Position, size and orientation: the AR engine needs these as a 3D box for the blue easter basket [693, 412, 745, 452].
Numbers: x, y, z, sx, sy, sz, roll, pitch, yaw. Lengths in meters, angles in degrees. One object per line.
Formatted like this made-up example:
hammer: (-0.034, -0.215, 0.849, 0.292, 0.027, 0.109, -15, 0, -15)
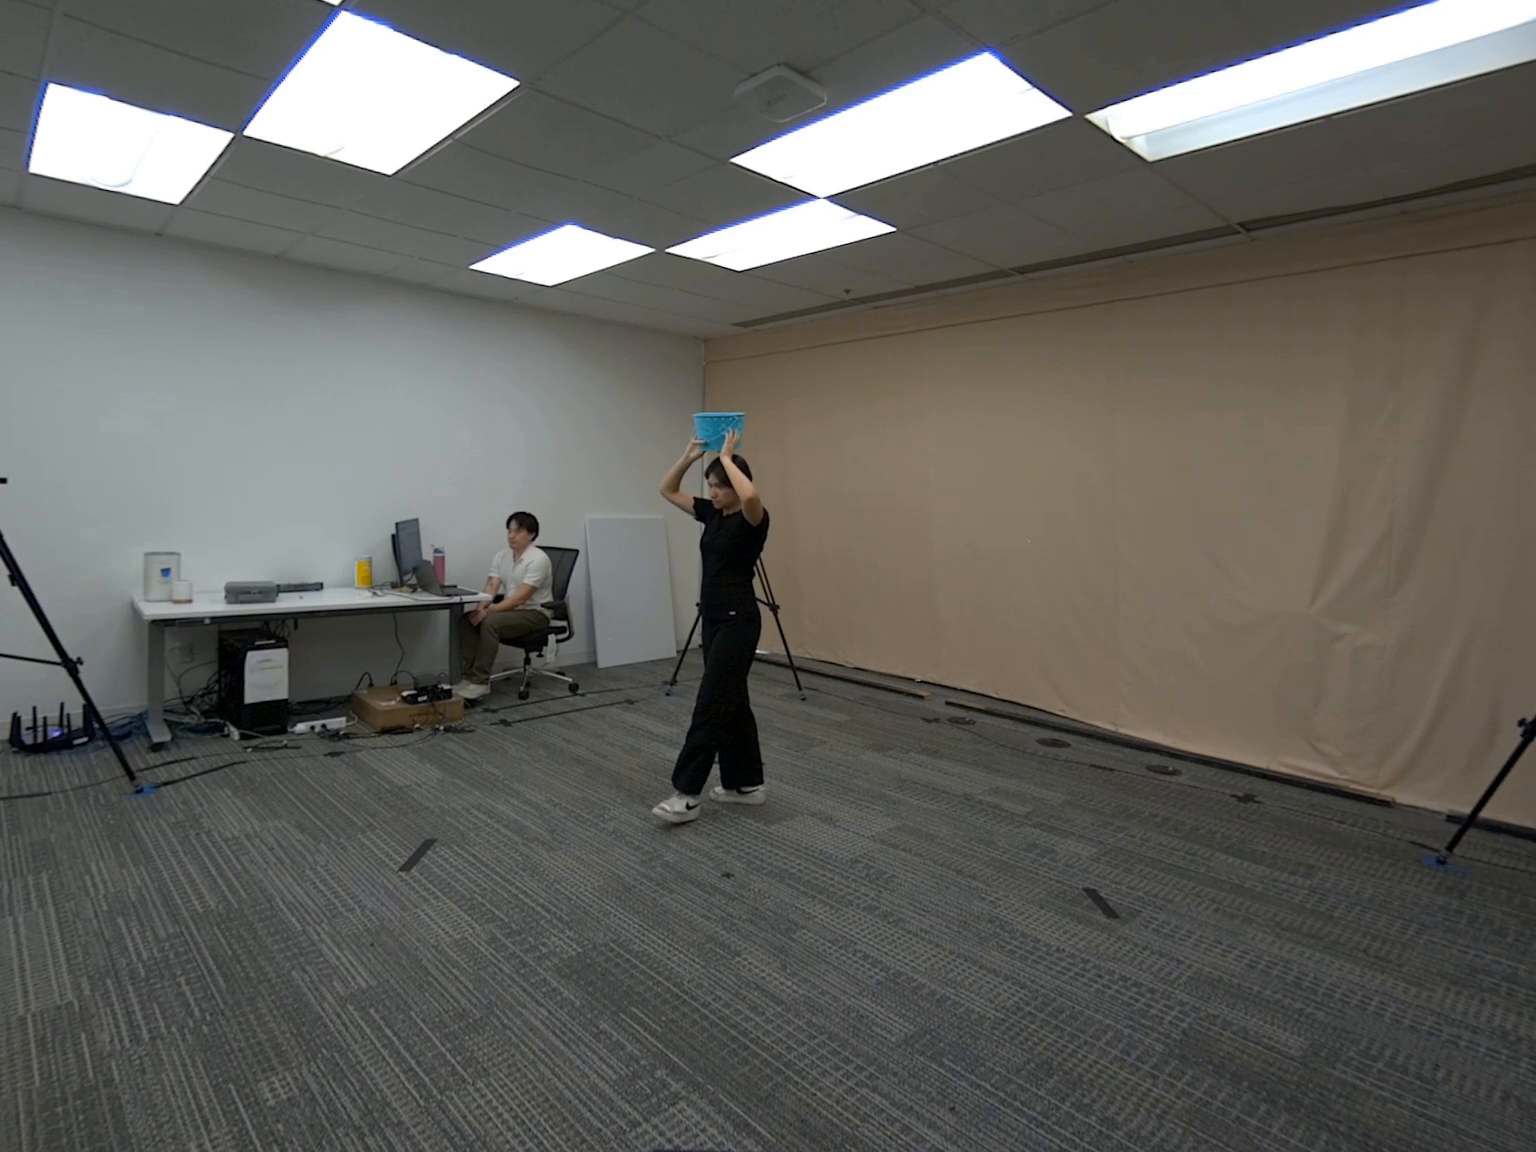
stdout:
blue easter basket: (-0.235, -0.633, 3.683, 0.243, 0.154, 0.246, 1, 13, -2)
